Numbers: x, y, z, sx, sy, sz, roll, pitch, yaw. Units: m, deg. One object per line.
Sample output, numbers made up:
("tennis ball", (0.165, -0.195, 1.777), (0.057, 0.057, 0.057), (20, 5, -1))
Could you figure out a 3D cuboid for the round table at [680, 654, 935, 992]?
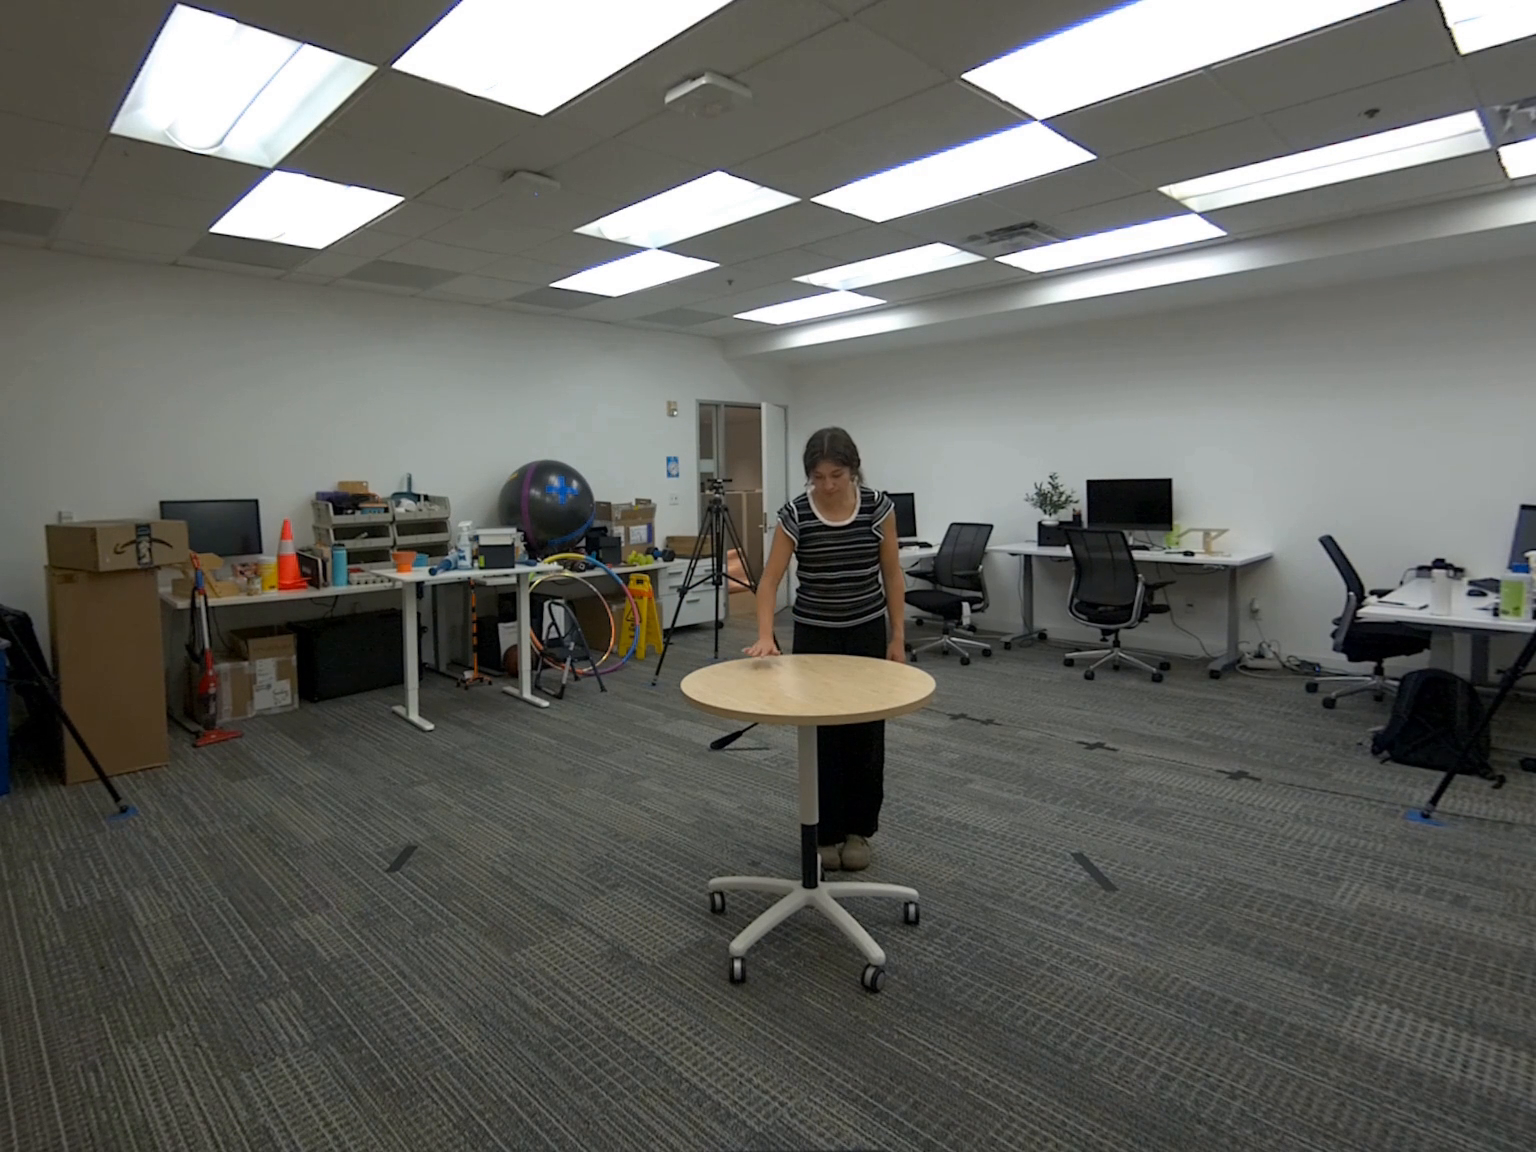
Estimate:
("round table", (0.129, 0.713, 2.614), (0.763, 0.791, 0.768), (-2, 5, -2))
